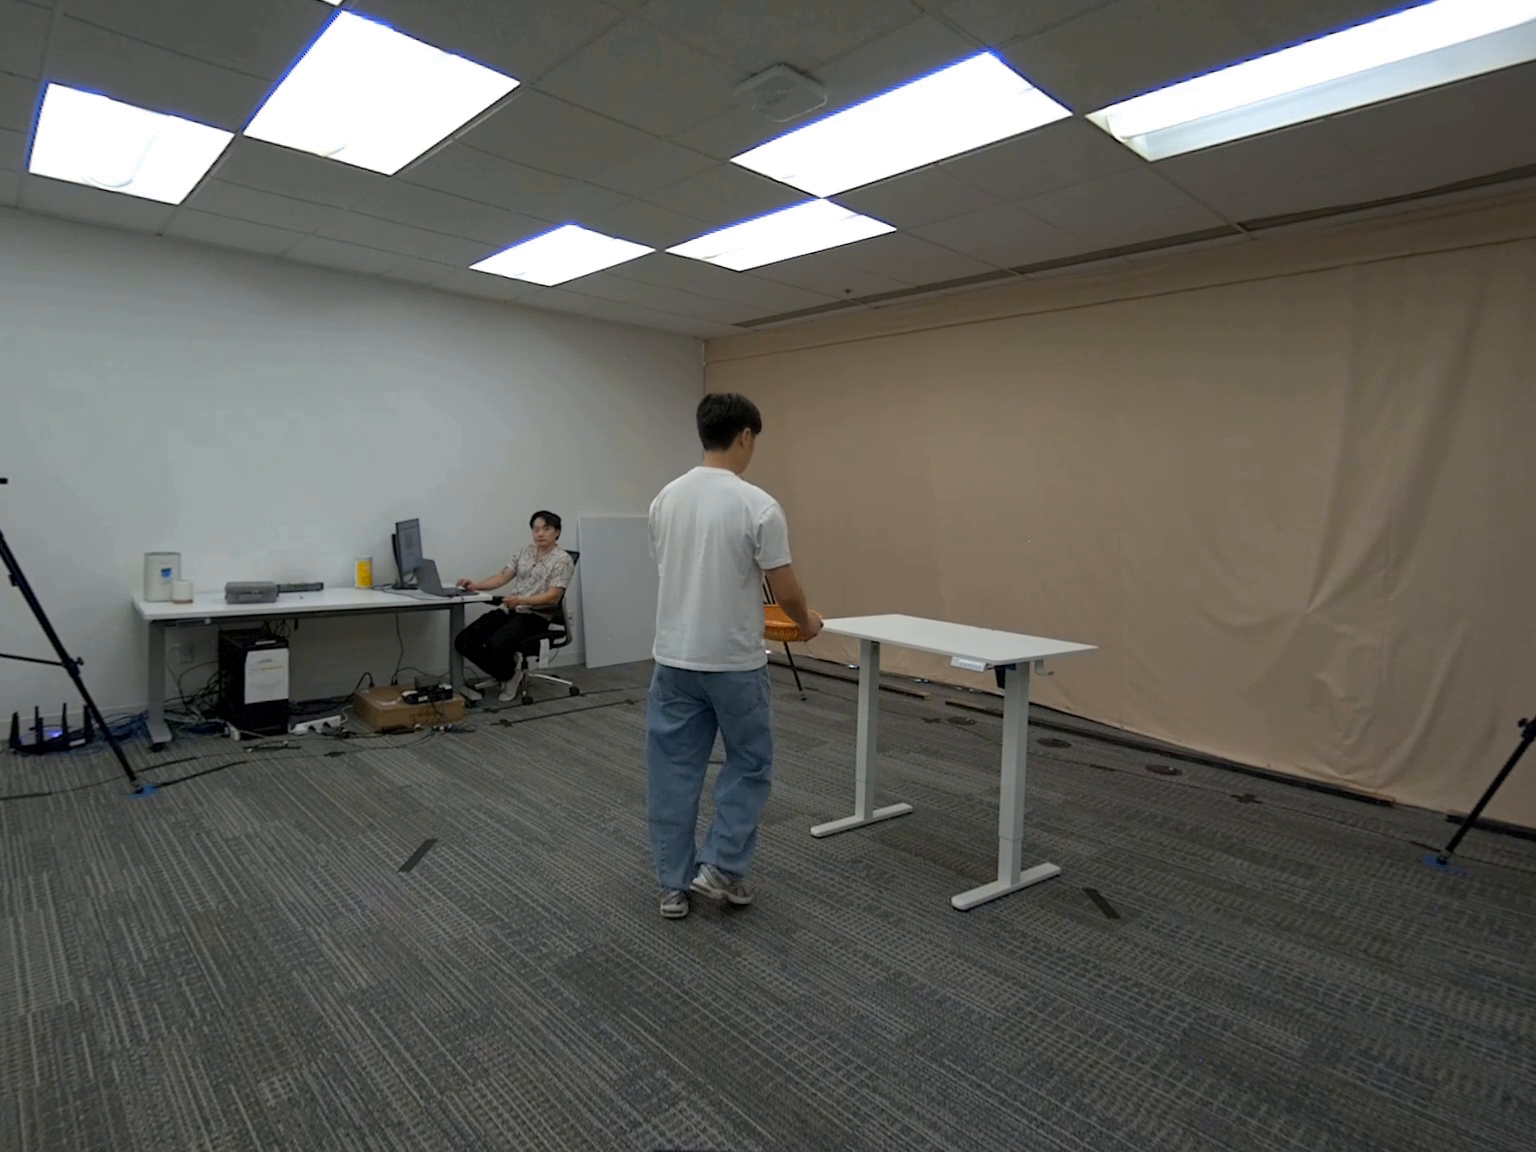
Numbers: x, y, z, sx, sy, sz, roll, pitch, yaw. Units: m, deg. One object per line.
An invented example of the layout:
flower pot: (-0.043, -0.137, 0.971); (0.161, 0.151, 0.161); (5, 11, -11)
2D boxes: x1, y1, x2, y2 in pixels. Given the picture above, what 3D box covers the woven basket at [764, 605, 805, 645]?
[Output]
woven basket: (0.027, 0.180, 3.103); (0.247, 0.073, 0.360); (-10, 14, -41)
